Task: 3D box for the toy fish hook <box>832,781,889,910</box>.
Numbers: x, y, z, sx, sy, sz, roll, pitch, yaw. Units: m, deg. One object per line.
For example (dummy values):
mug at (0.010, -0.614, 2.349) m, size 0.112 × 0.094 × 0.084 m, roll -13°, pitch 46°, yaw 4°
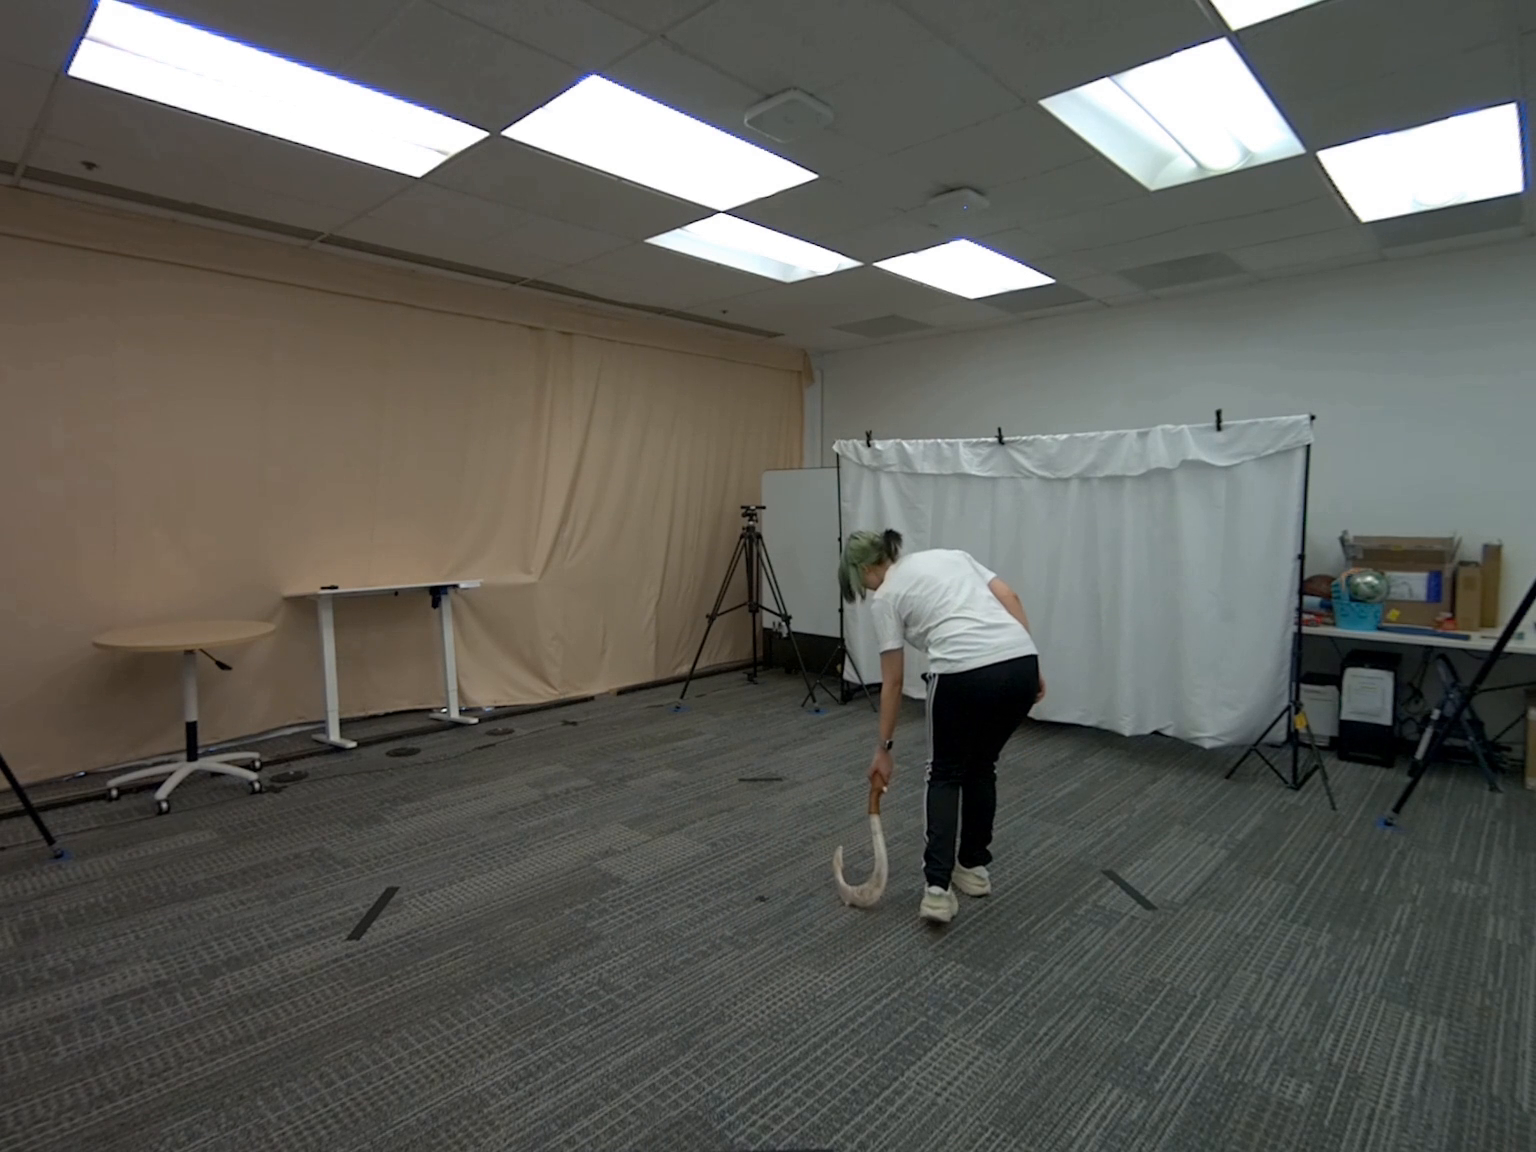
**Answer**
toy fish hook at (0.342, 0.914, 3.018) m, size 0.230 × 0.512 × 0.046 m, roll -11°, pitch -33°, yaw 34°
